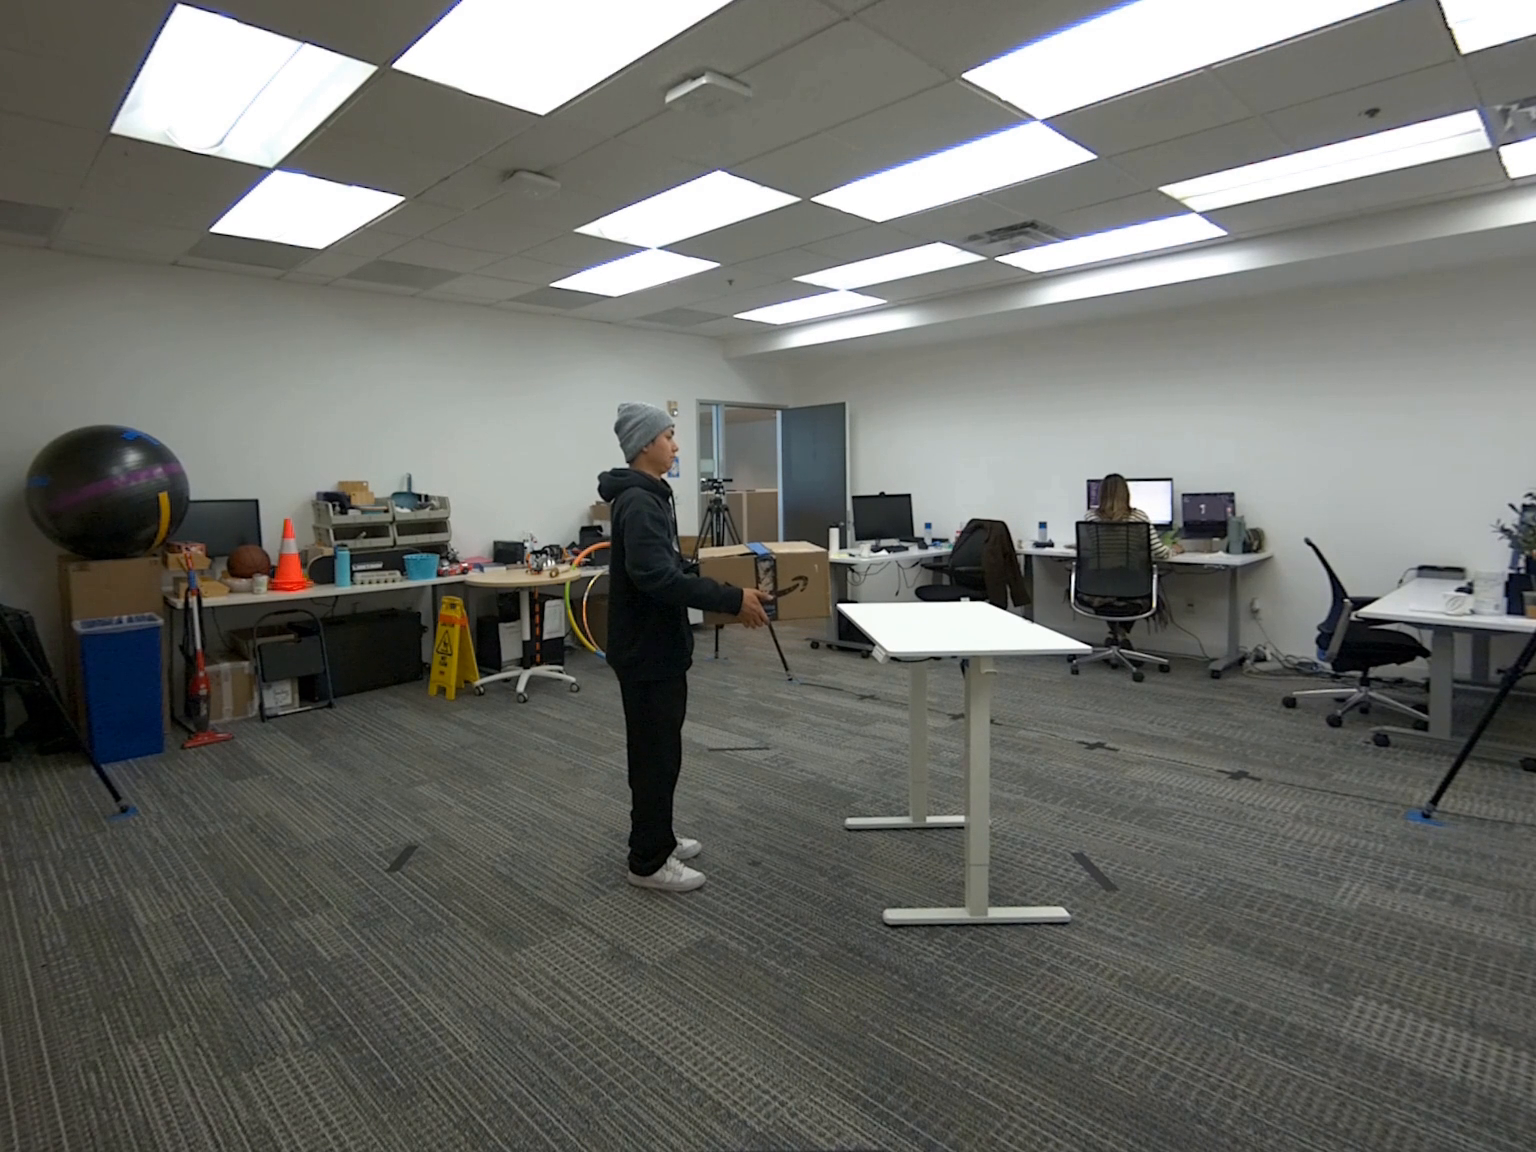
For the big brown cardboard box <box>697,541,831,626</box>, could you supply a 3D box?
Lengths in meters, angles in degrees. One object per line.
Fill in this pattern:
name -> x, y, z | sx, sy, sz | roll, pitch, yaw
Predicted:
big brown cardboard box -> -0.037, 0.015, 2.989 | 0.416, 0.232, 0.593 | -4, 4, -4
